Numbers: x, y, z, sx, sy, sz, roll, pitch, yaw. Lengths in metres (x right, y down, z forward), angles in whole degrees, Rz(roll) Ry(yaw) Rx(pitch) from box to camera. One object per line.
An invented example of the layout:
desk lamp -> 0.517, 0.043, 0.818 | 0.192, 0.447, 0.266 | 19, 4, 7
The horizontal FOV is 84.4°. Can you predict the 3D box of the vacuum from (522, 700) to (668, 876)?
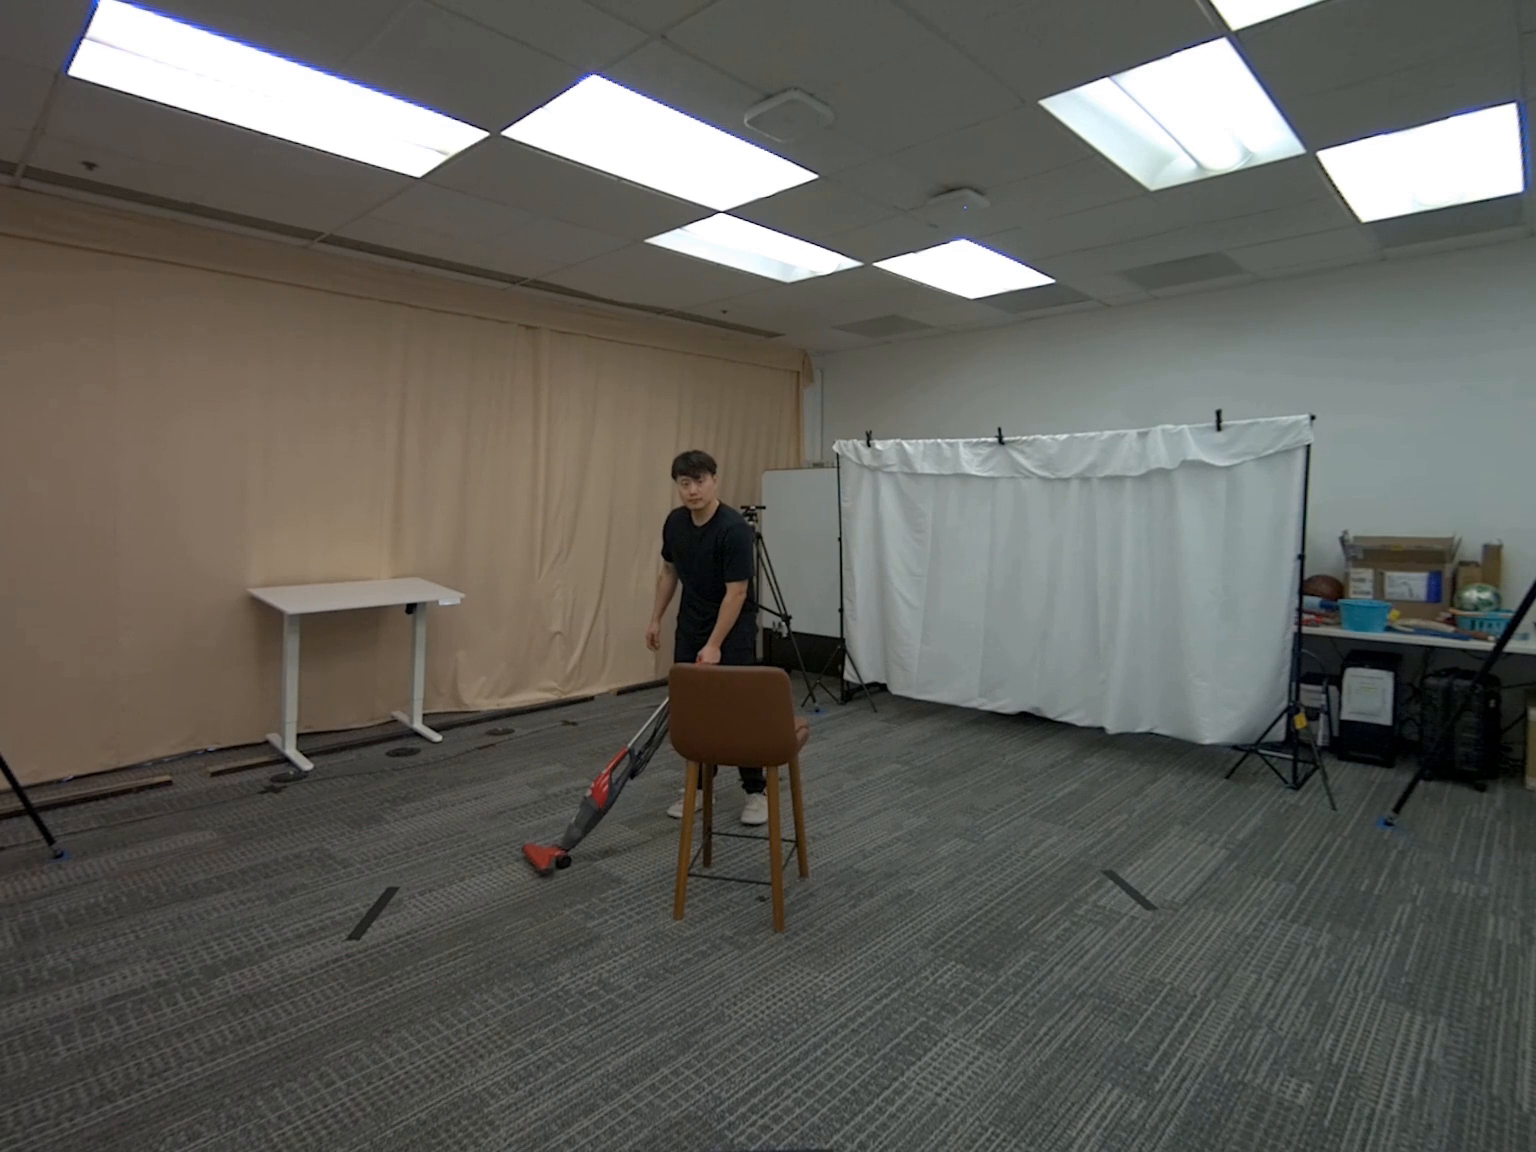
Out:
vacuum -> -0.545, 0.735, 3.446 | 0.140, 1.045, 0.260 | 49, -21, -25
